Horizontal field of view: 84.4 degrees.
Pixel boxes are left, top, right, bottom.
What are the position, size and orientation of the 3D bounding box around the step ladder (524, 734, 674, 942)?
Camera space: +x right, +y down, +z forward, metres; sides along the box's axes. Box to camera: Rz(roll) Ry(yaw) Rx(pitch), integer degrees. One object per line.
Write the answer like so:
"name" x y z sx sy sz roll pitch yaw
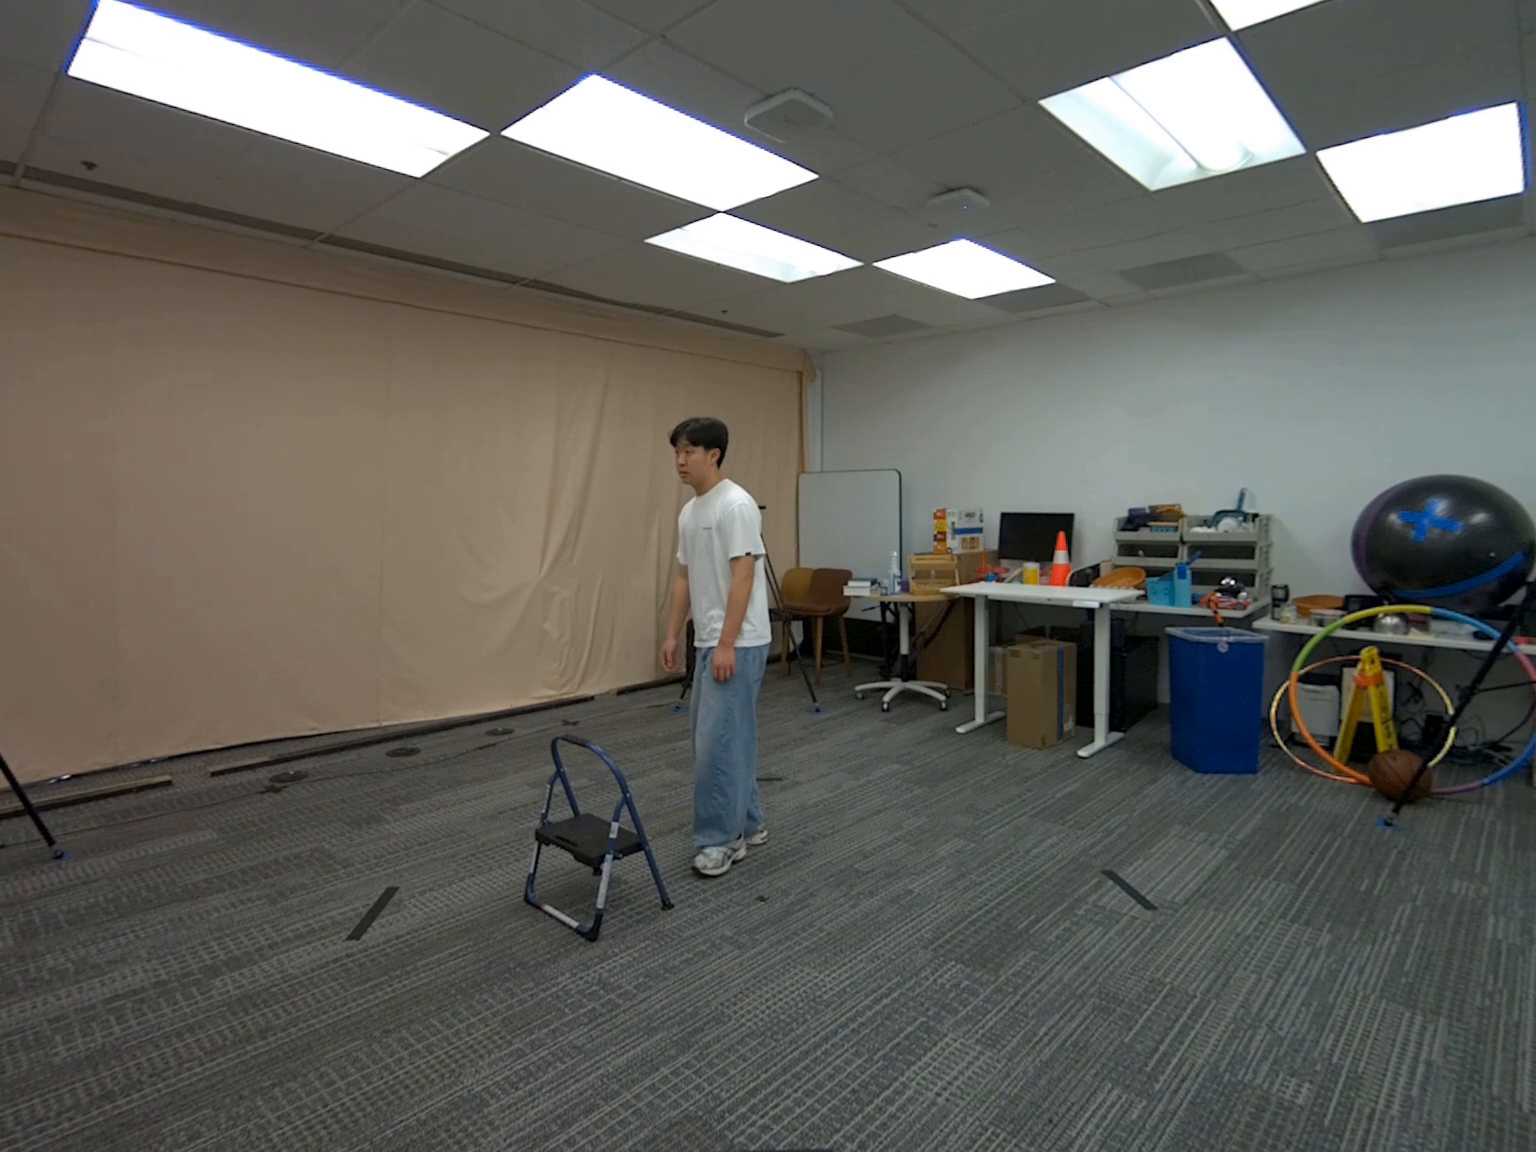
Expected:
"step ladder" -0.600 0.848 2.936 0.445 0.605 0.338 2 4 43
